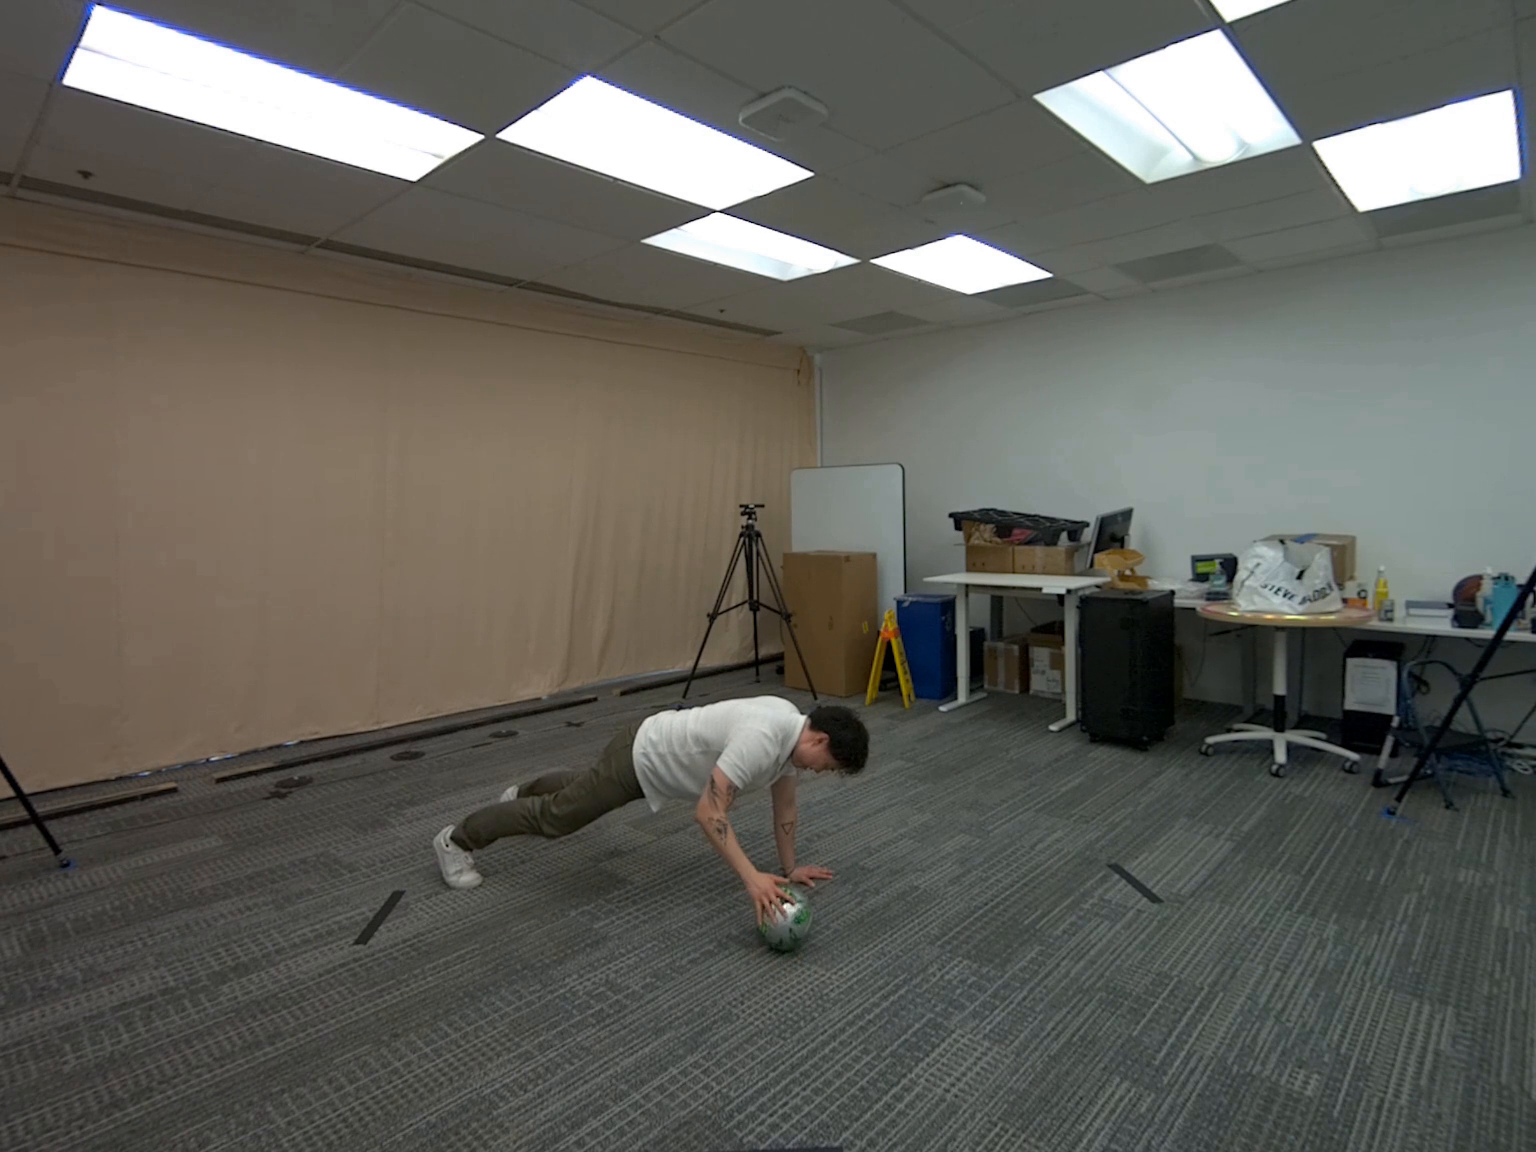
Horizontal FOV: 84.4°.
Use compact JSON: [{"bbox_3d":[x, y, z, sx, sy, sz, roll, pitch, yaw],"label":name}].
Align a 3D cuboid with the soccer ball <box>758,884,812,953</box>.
[{"bbox_3d":[0.052,1.066,2.662,0.187,0.187,0.188,-1,4,-2],"label":"soccer ball"}]
